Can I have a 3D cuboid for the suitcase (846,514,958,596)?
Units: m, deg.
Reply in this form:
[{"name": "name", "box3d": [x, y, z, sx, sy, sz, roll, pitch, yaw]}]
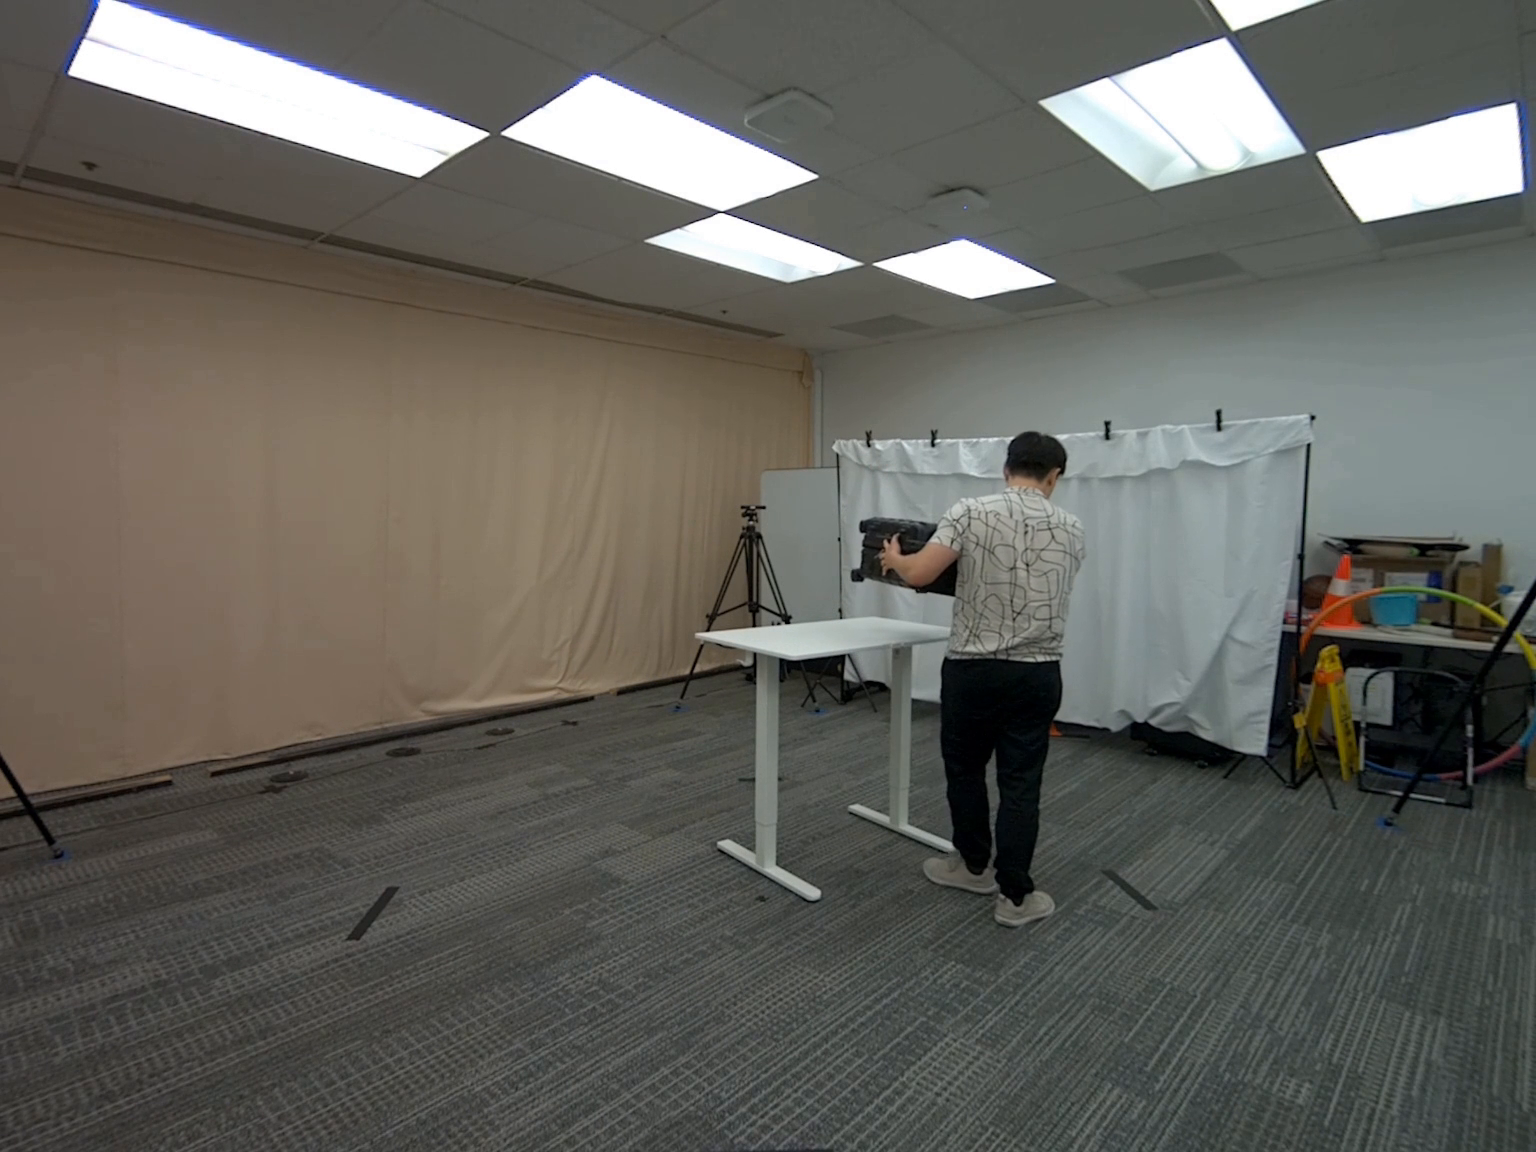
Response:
[{"name": "suitcase", "box3d": [0.598, -0.075, 3.228, 0.369, 0.248, 0.559, 11, 1, -16]}]
